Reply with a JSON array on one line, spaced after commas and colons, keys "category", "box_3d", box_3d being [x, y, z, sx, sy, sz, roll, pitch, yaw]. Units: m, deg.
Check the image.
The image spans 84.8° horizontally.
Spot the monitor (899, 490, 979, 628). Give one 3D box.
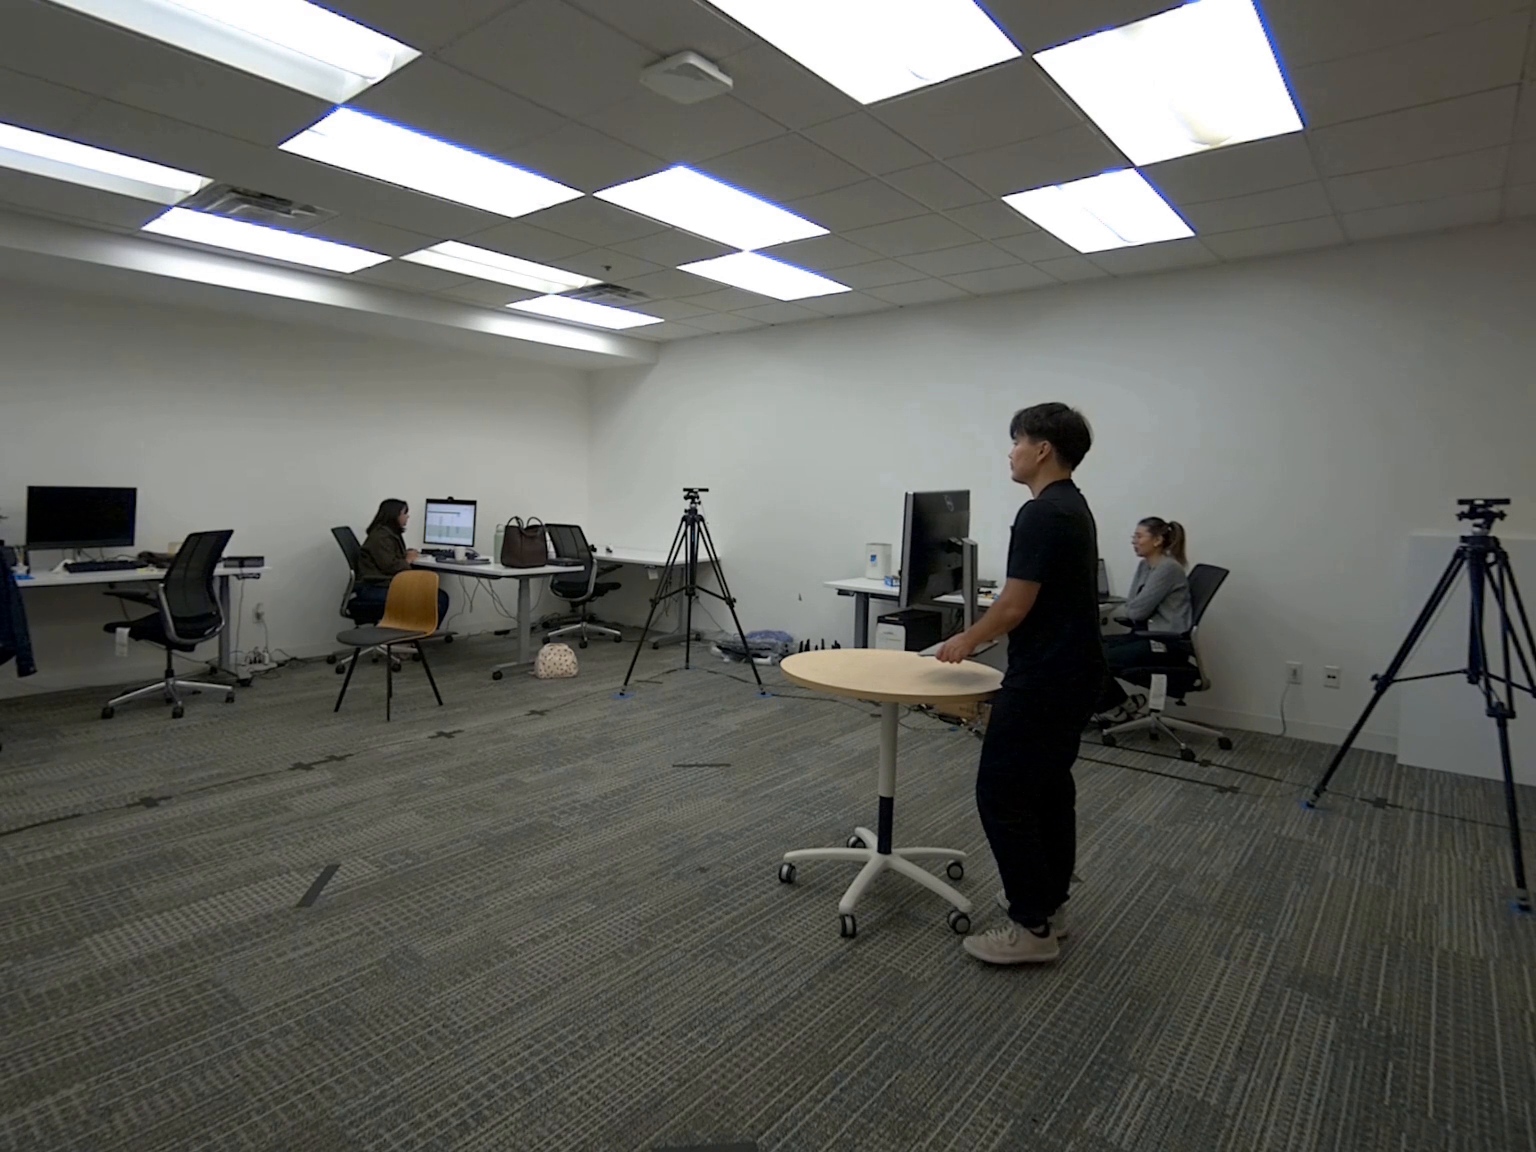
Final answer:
[{"category": "monitor", "box_3d": [0.597, -0.022, 2.842, 0.192, 0.523, 0.525, -9, -1, 32]}]
